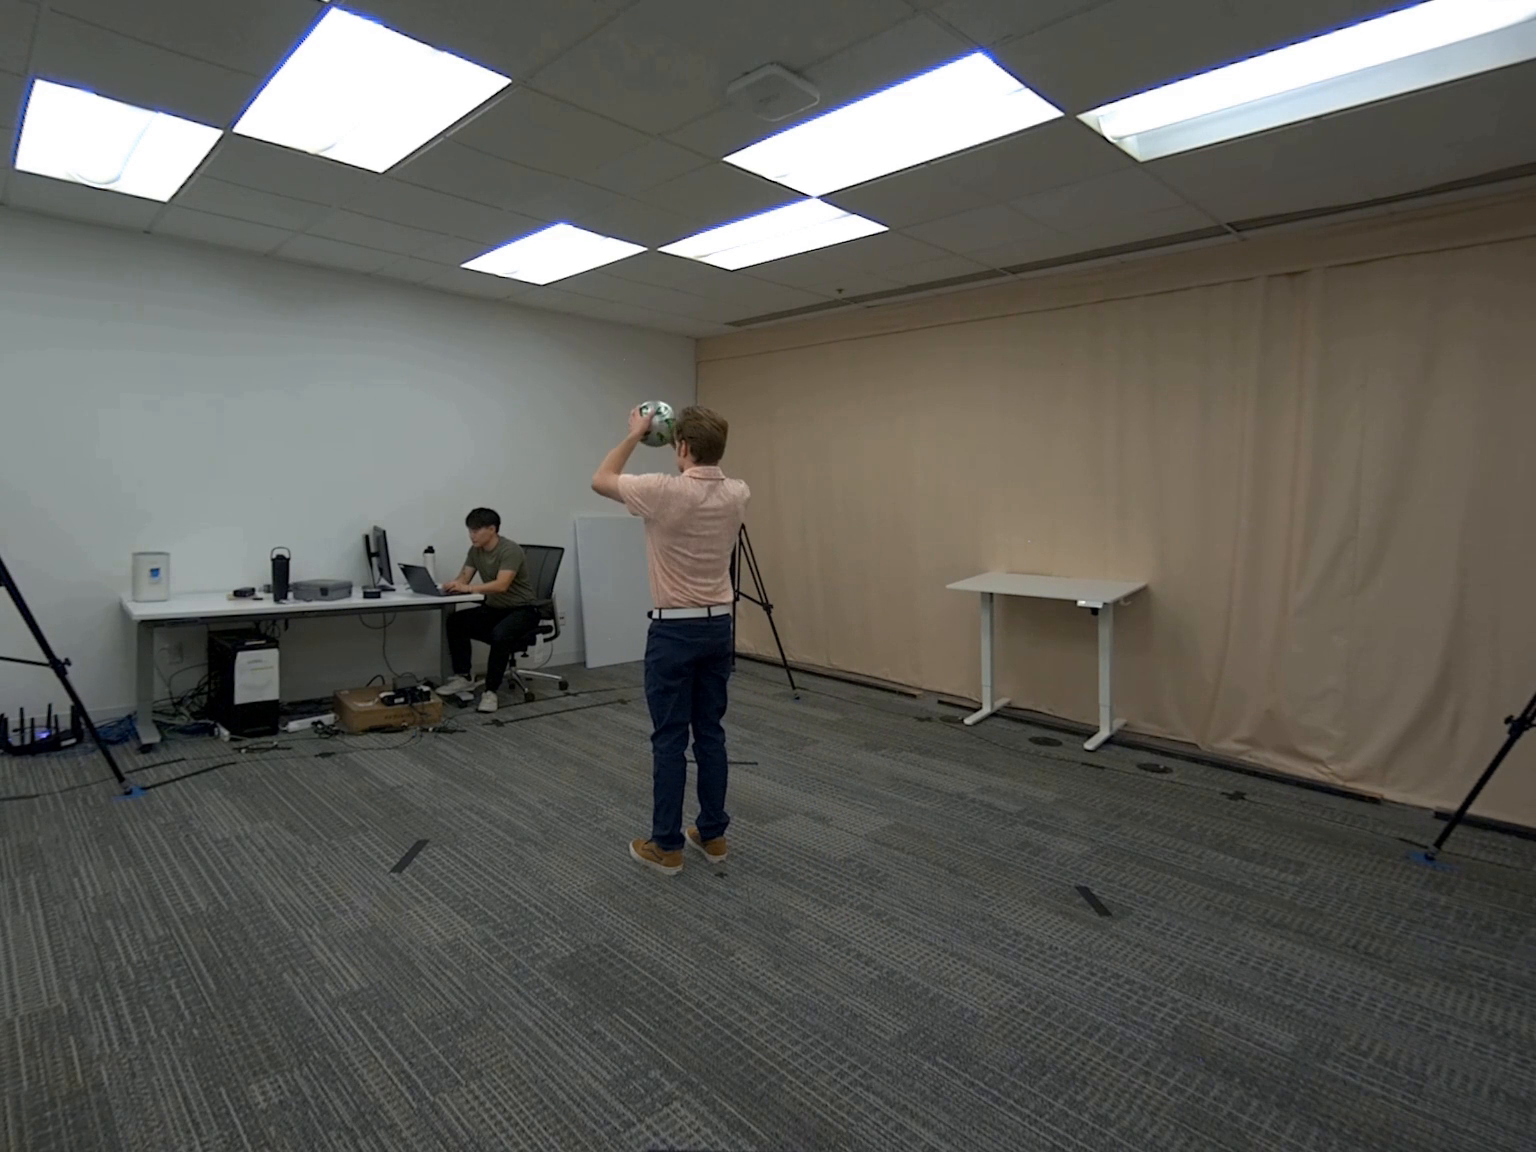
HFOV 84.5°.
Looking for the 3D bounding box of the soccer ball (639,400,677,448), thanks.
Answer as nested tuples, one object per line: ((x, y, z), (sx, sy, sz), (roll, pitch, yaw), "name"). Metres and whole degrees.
((-0.464, -0.608, 3.420), (0.187, 0.187, 0.188), (1, 4, -1), "soccer ball")
